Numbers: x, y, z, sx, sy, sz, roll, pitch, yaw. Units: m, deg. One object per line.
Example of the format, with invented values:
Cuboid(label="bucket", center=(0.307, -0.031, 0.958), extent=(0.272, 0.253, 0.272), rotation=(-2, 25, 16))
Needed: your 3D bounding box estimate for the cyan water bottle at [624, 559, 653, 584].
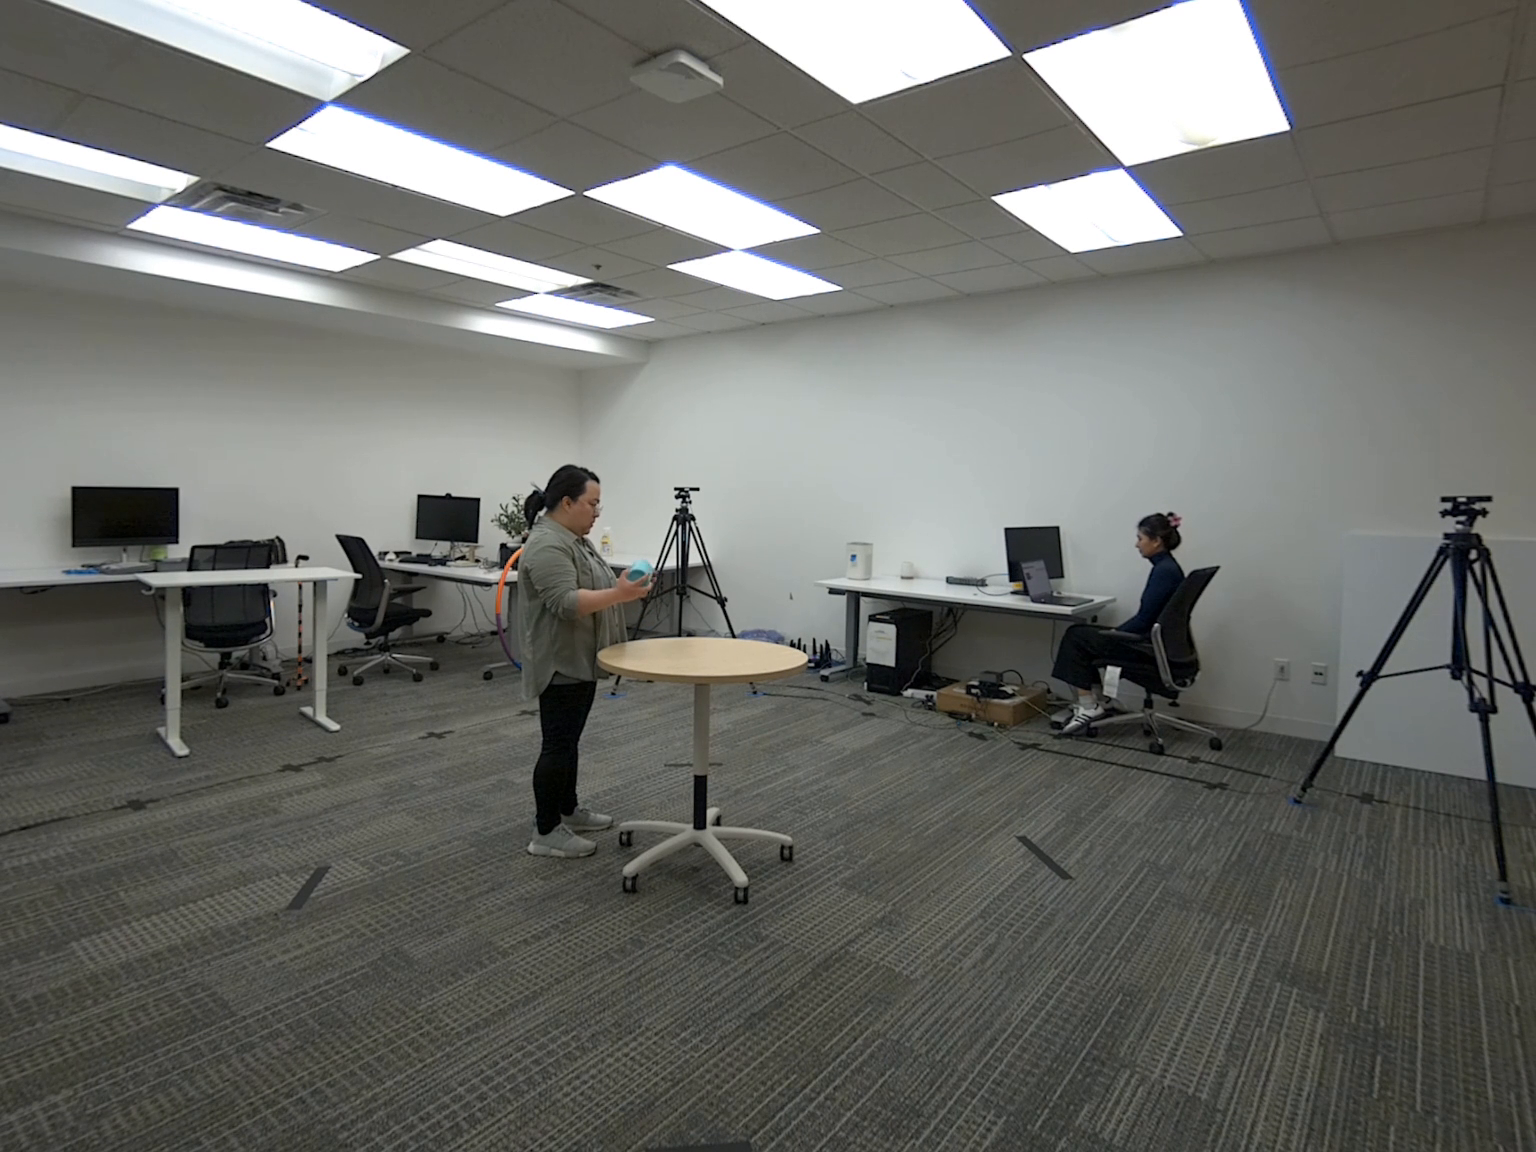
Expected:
Cuboid(label="cyan water bottle", center=(-0.512, -0.007, 3.279), extent=(0.092, 0.092, 0.287), rotation=(0, 8, -6))
